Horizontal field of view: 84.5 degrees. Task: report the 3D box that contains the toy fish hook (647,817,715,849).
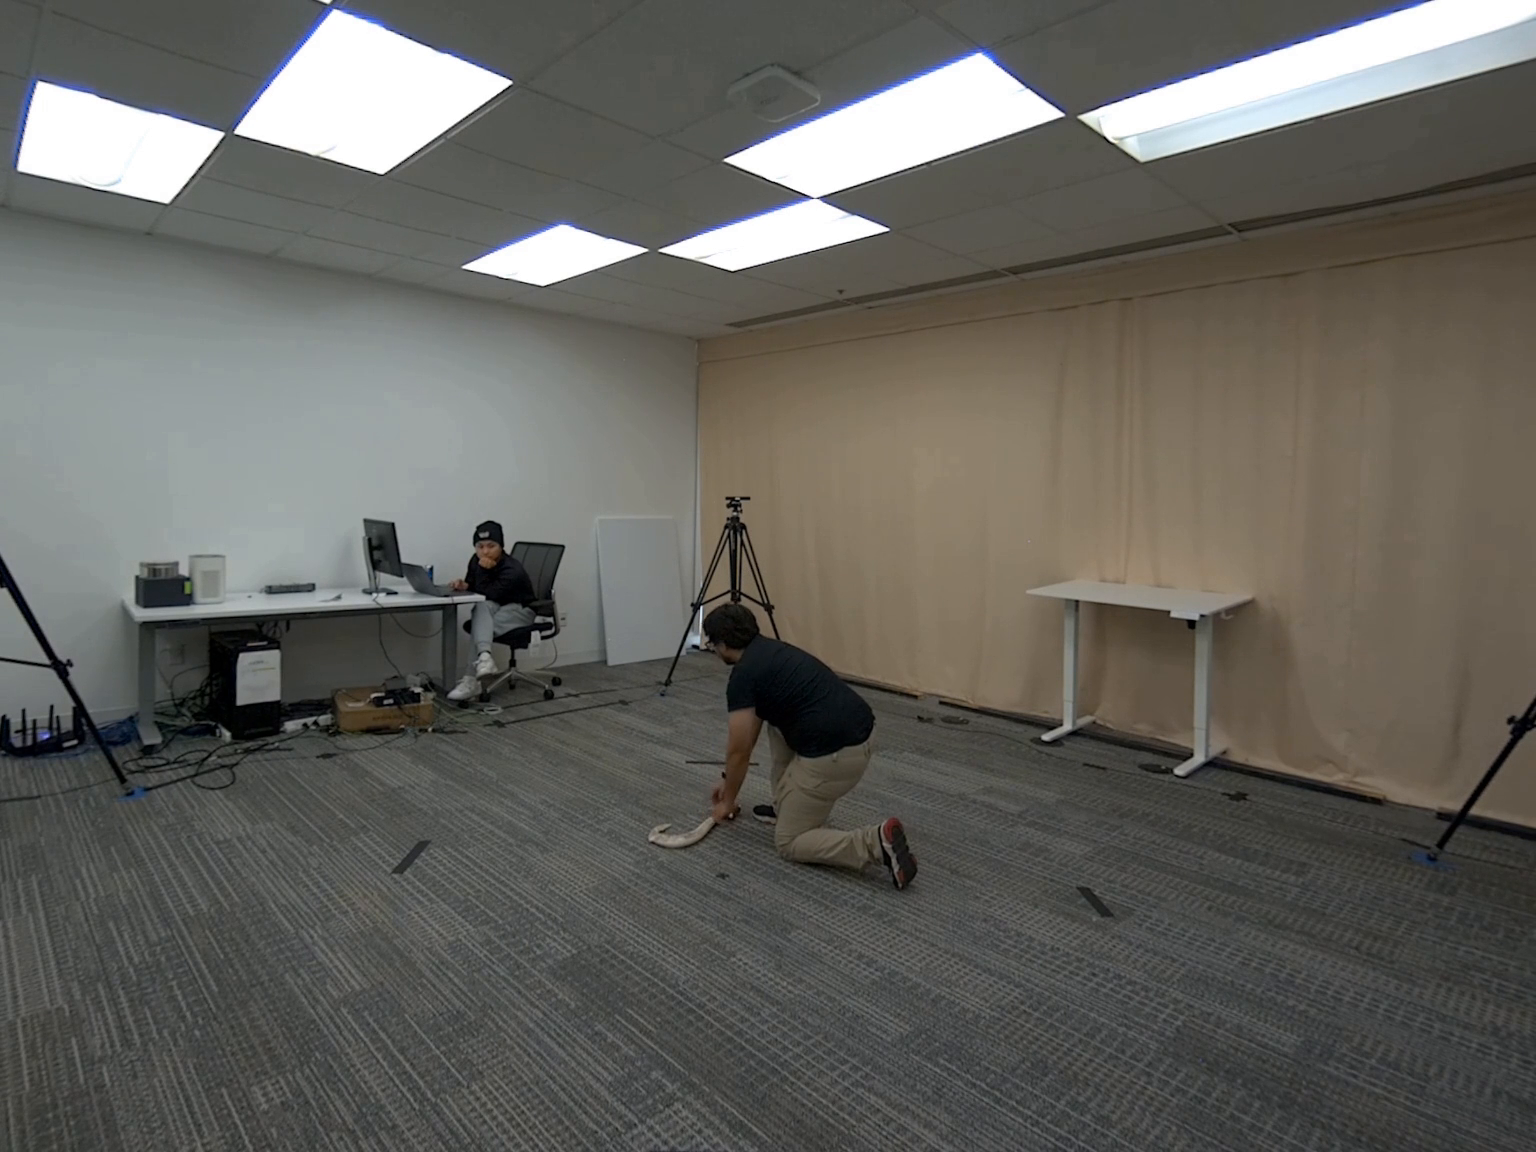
[{"bbox_3d":[-0.312,1.038,3.561,0.230,0.048,0.496,5,6,33],"label":"toy fish hook"}]
